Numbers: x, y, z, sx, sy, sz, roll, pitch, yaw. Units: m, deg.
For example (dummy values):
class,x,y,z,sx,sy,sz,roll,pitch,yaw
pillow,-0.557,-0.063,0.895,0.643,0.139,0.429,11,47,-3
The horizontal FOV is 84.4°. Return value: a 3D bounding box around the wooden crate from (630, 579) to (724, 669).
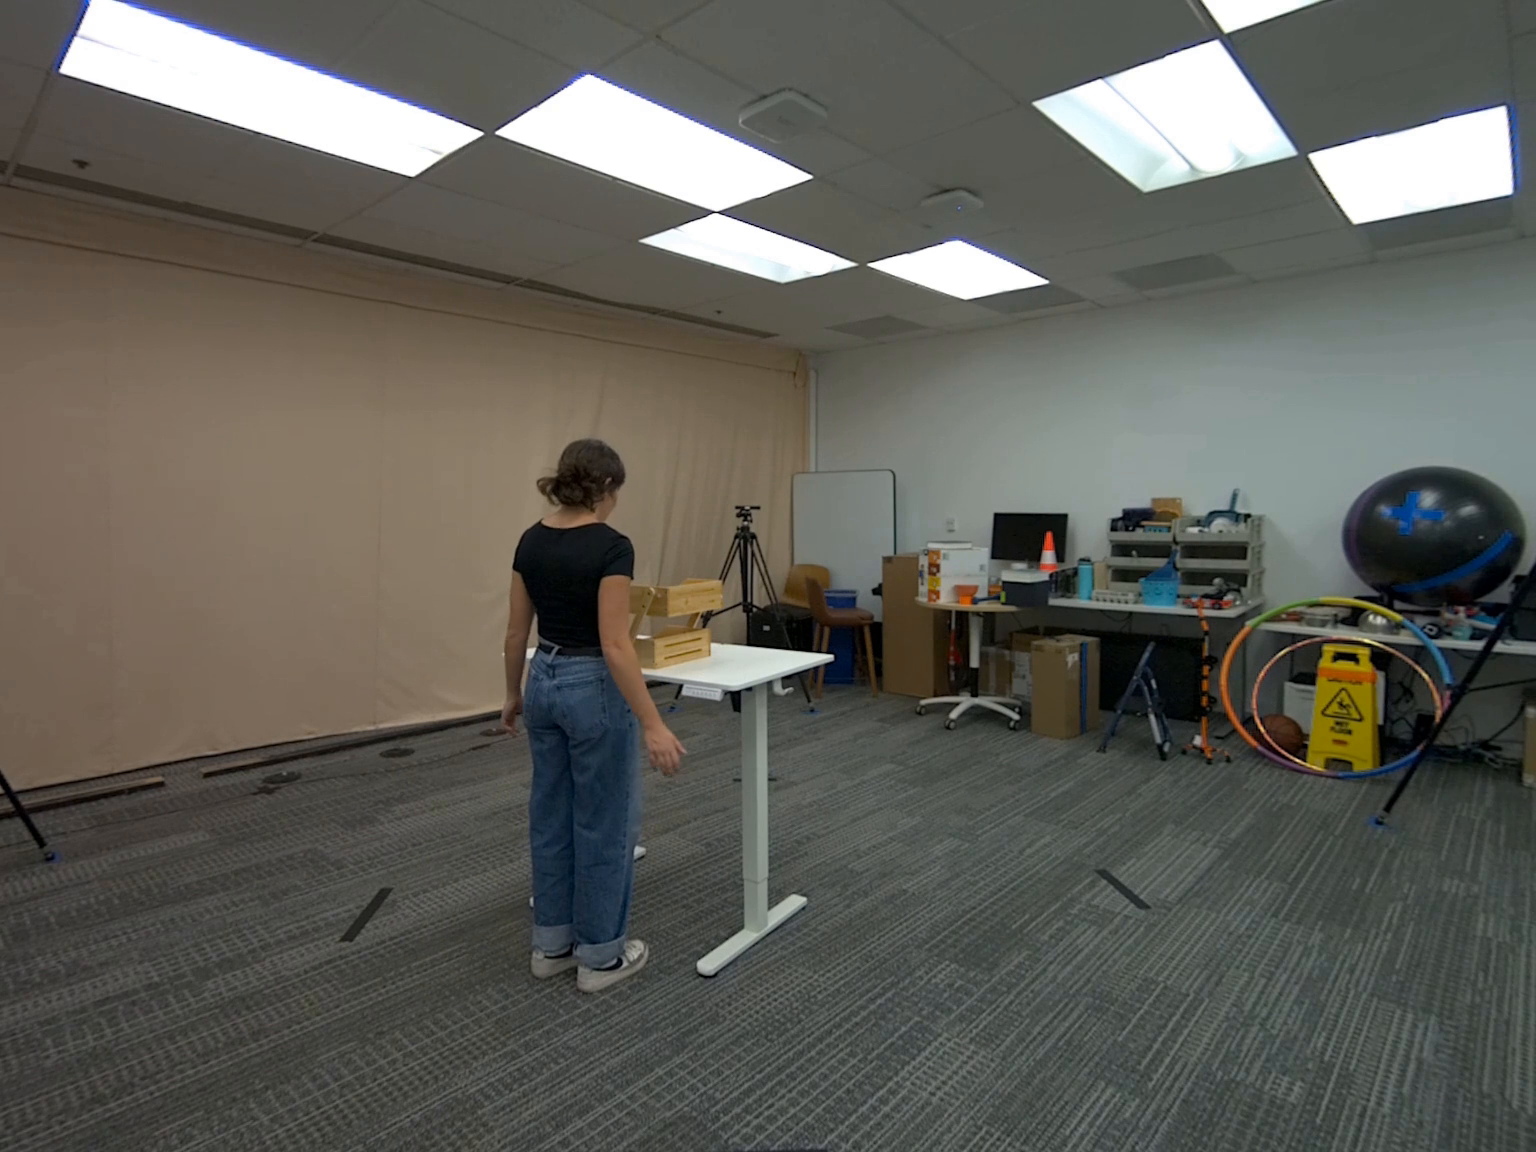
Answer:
class,x,y,z,sx,sy,sz,roll,pitch,yaw
wooden crate,-0.361,0.146,2.800,0.311,0.273,0.315,3,4,33
